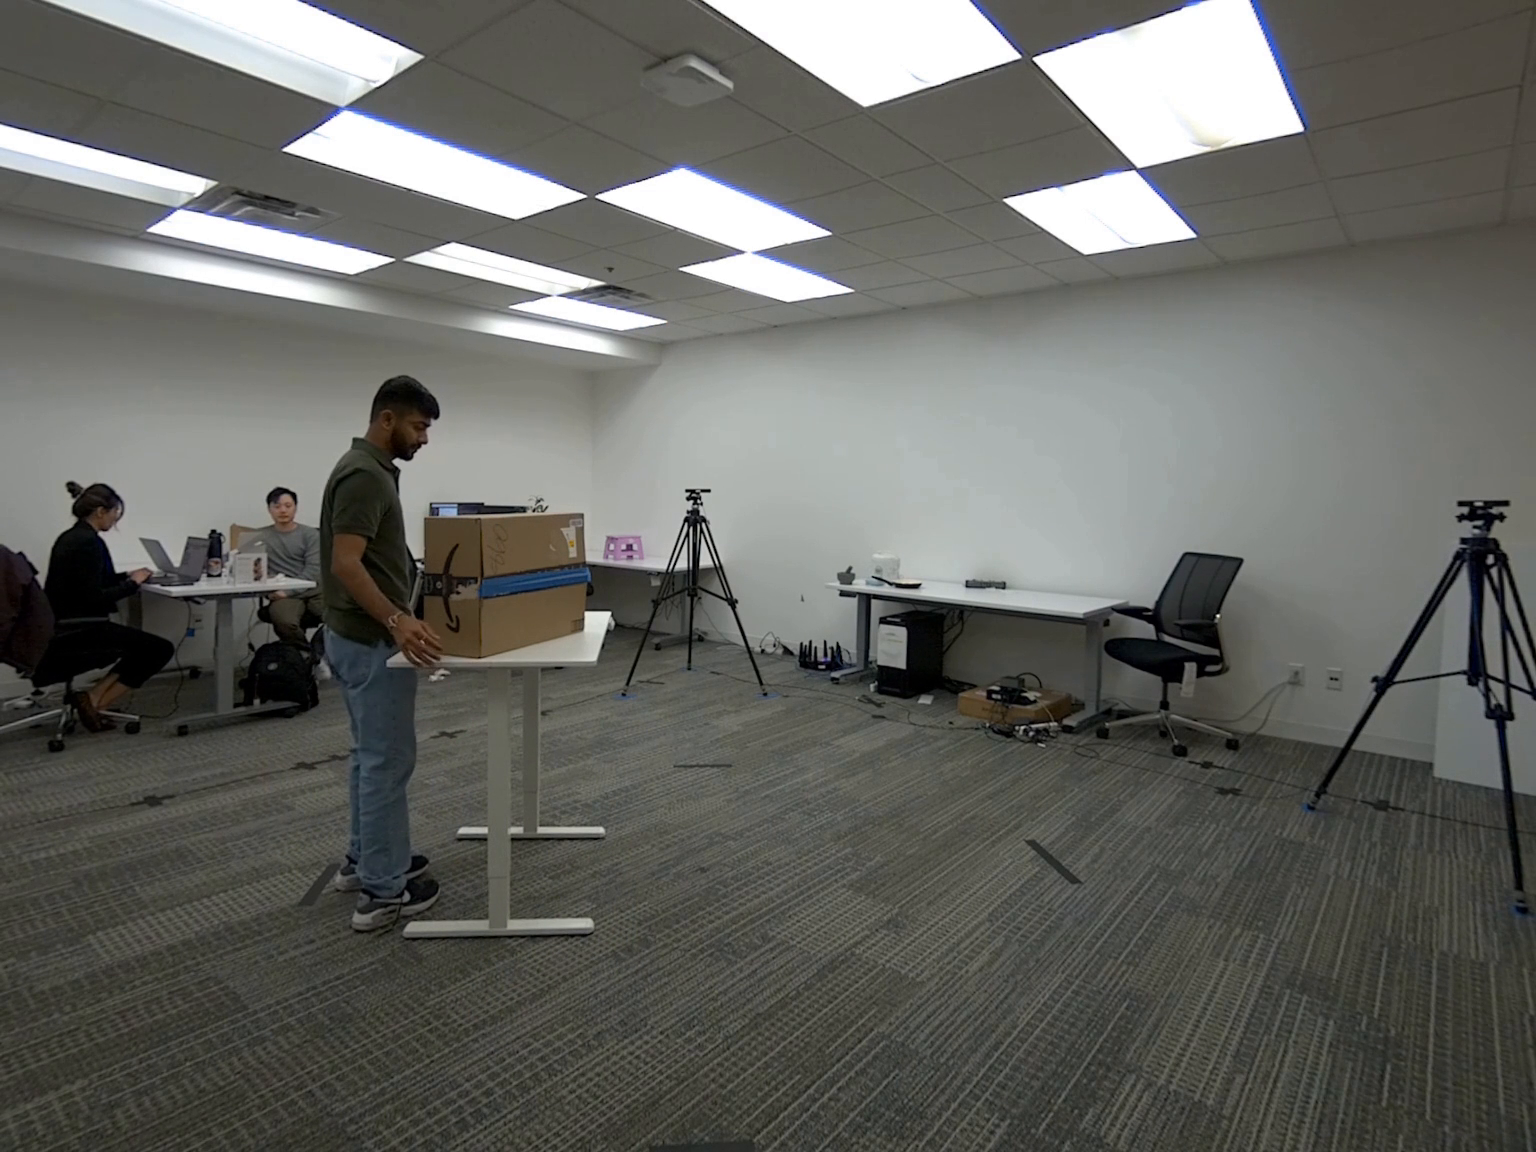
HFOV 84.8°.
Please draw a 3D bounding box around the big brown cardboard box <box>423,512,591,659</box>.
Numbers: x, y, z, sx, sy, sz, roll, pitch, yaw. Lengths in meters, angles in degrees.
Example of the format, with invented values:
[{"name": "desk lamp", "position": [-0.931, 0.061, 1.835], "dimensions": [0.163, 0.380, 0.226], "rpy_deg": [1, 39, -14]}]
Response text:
[{"name": "big brown cardboard box", "position": [-0.854, 0.009, 2.791], "dimensions": [0.239, 0.416, 0.577], "rpy_deg": [1, 5, 22]}]
